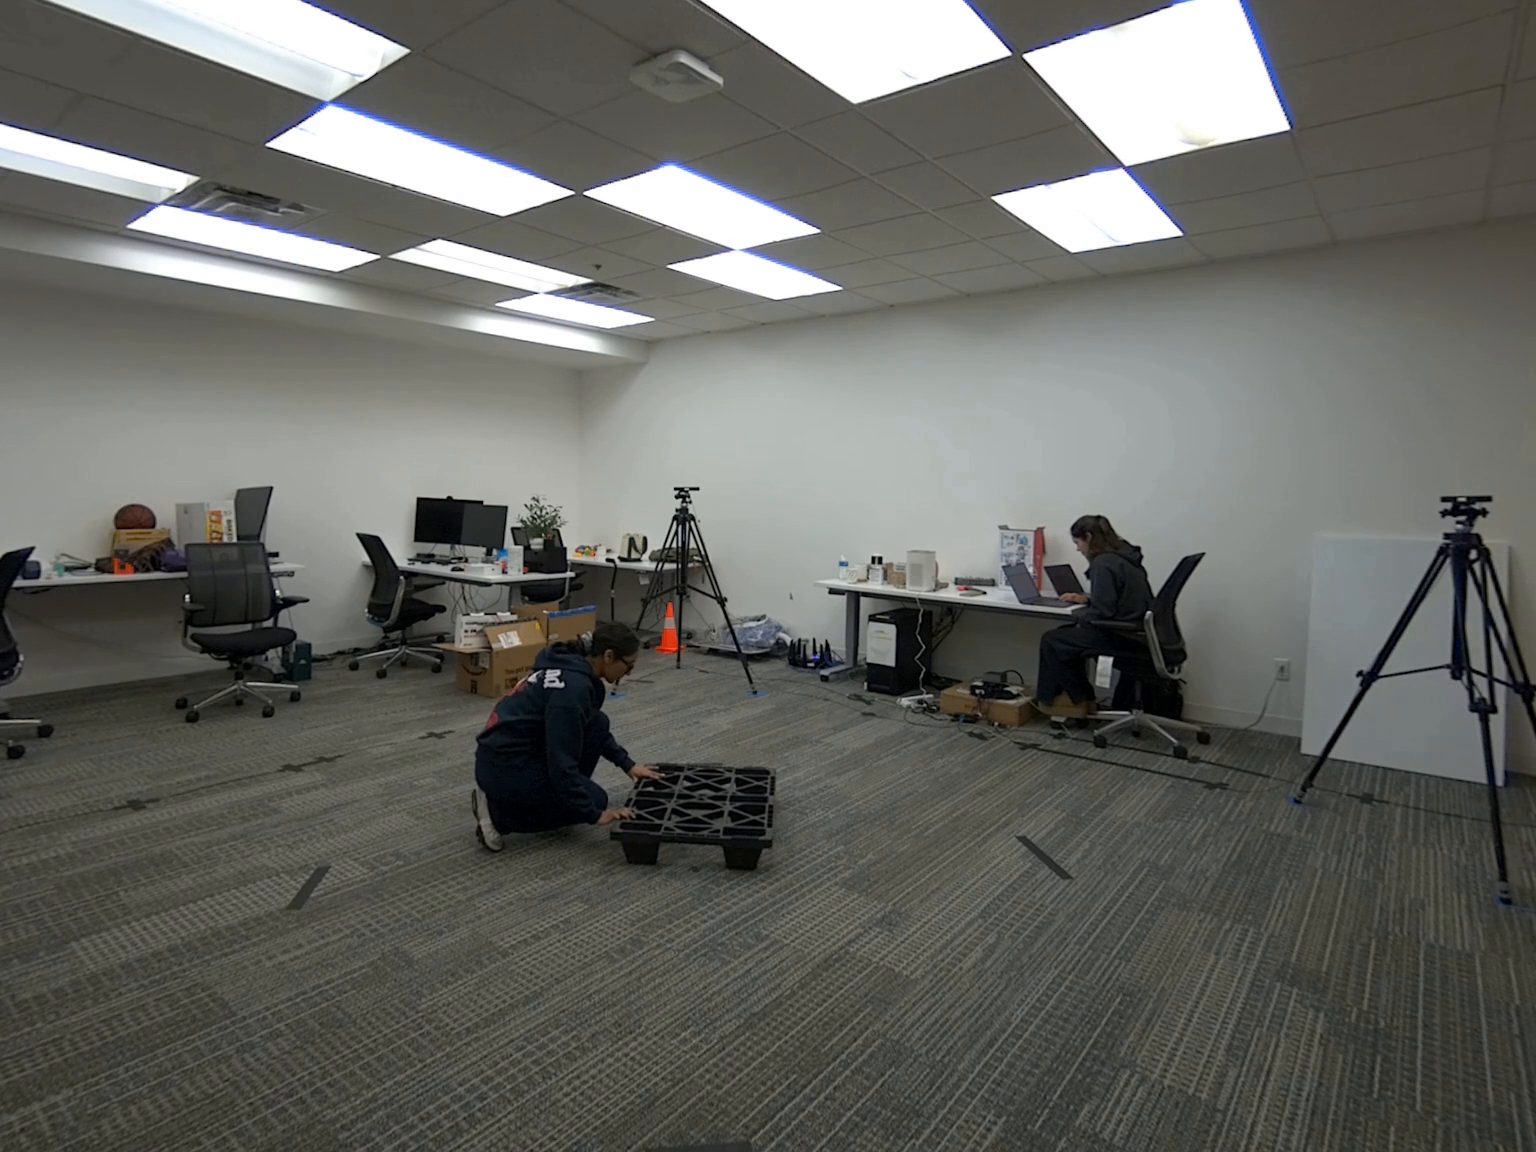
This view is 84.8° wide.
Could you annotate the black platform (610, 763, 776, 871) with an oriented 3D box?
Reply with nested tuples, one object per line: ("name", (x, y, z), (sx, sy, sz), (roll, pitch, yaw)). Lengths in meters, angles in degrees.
("black platform", (-0.289, 0.965, 3.469), (0.608, 0.143, 0.805), (0, 6, 3))
